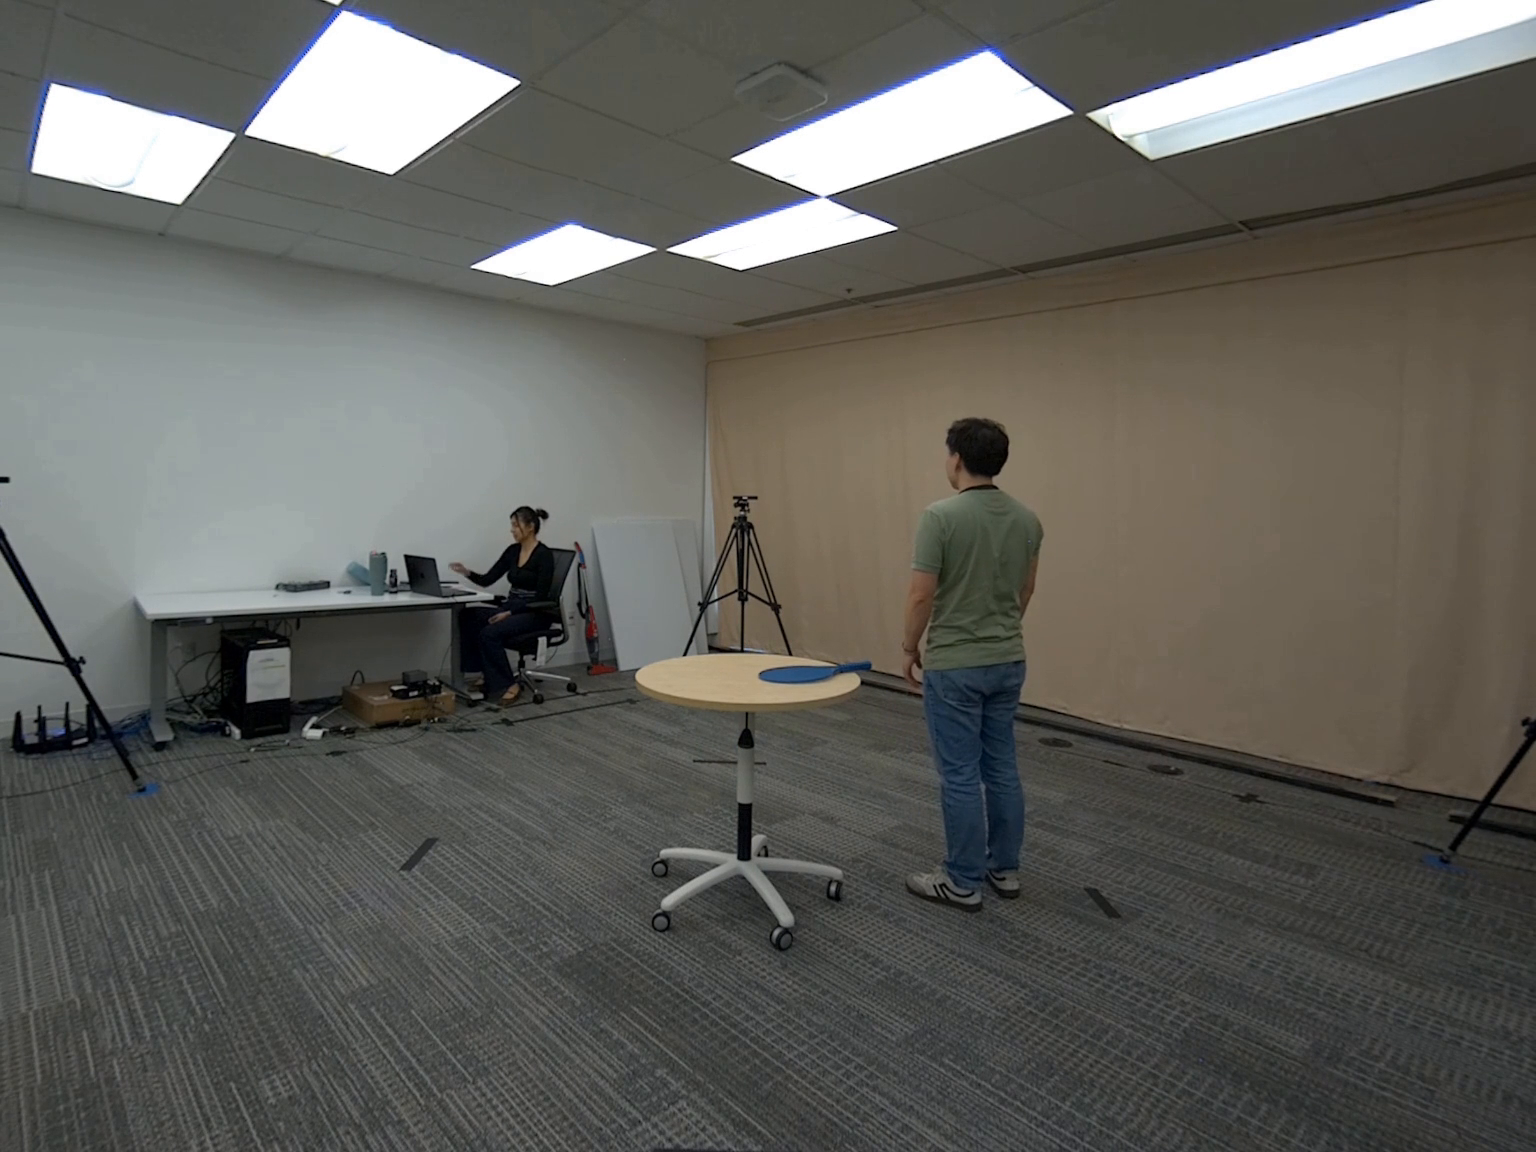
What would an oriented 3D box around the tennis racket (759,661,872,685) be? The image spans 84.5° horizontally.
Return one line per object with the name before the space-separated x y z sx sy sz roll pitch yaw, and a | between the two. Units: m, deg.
tennis racket | 0.166 0.331 2.905 0.425 0.031 0.218 -4 8 -26
